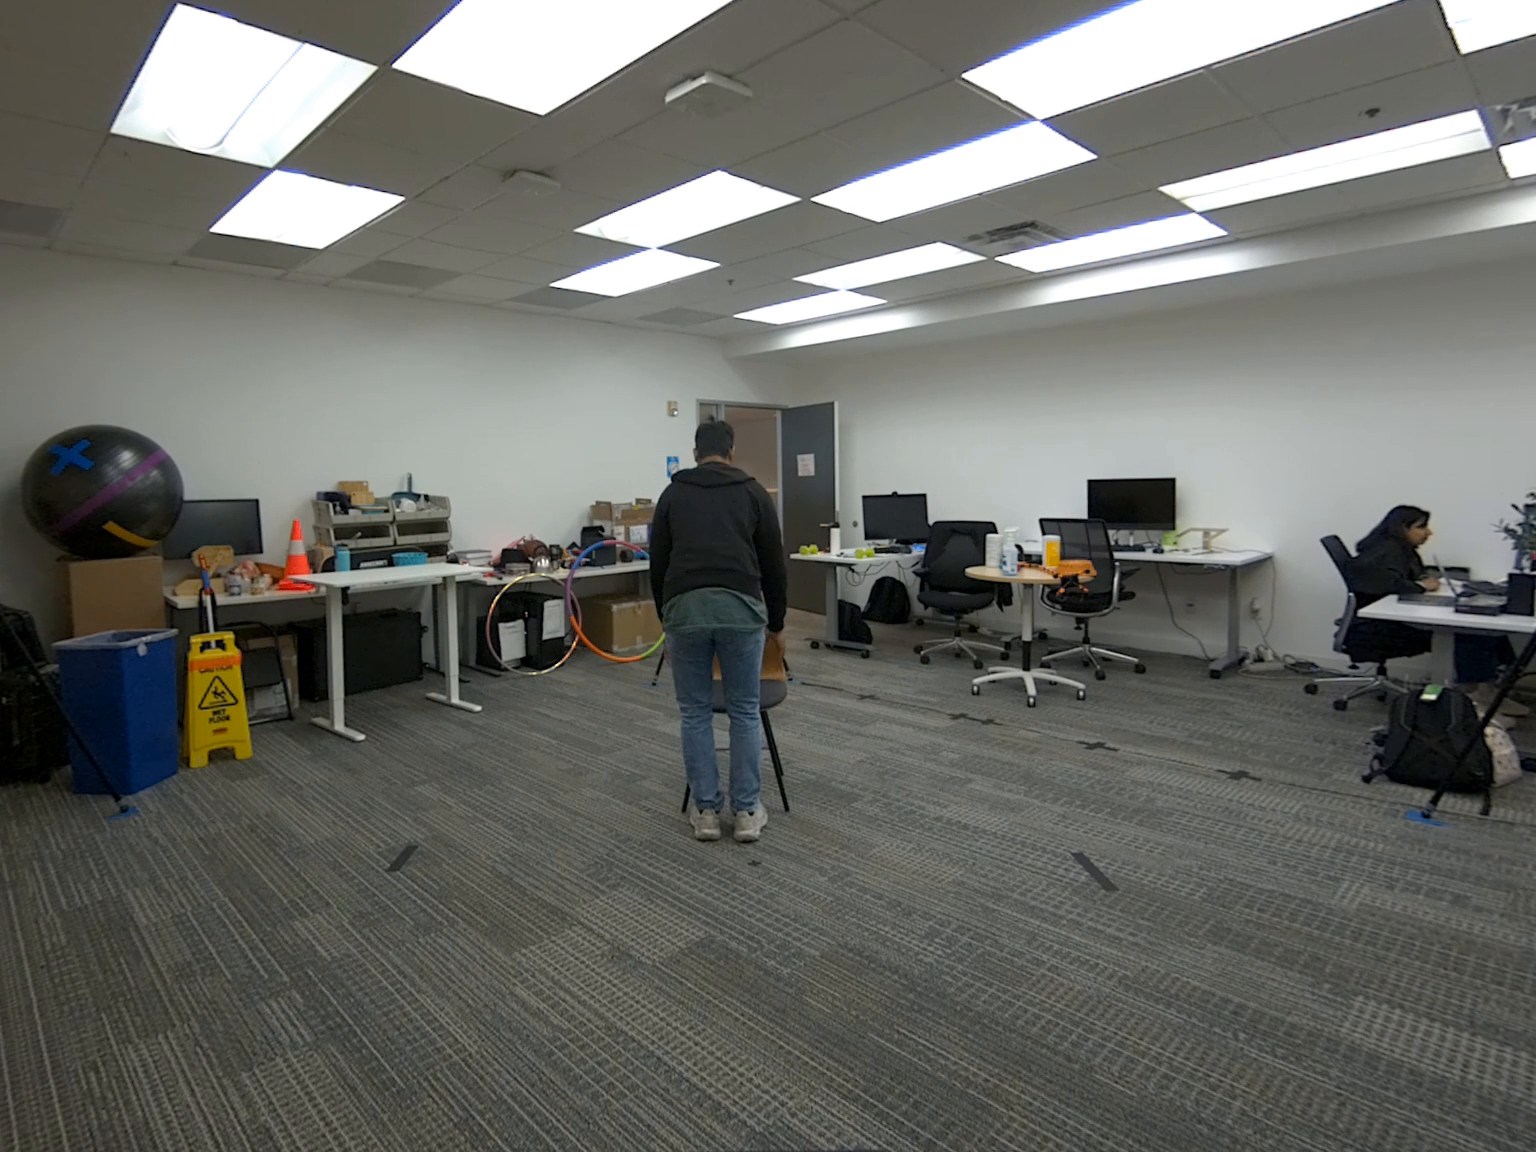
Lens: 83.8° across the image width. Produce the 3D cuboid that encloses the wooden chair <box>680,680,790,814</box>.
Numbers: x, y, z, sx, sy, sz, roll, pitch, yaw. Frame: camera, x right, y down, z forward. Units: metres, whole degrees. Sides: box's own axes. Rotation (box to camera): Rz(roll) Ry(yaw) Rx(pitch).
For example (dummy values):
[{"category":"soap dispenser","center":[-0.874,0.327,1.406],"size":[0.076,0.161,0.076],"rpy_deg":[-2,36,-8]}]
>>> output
[{"category":"wooden chair","center":[-0.146,0.544,3.775],"size":[0.478,0.878,0.523],"rpy_deg":[-1,0,-1]}]
